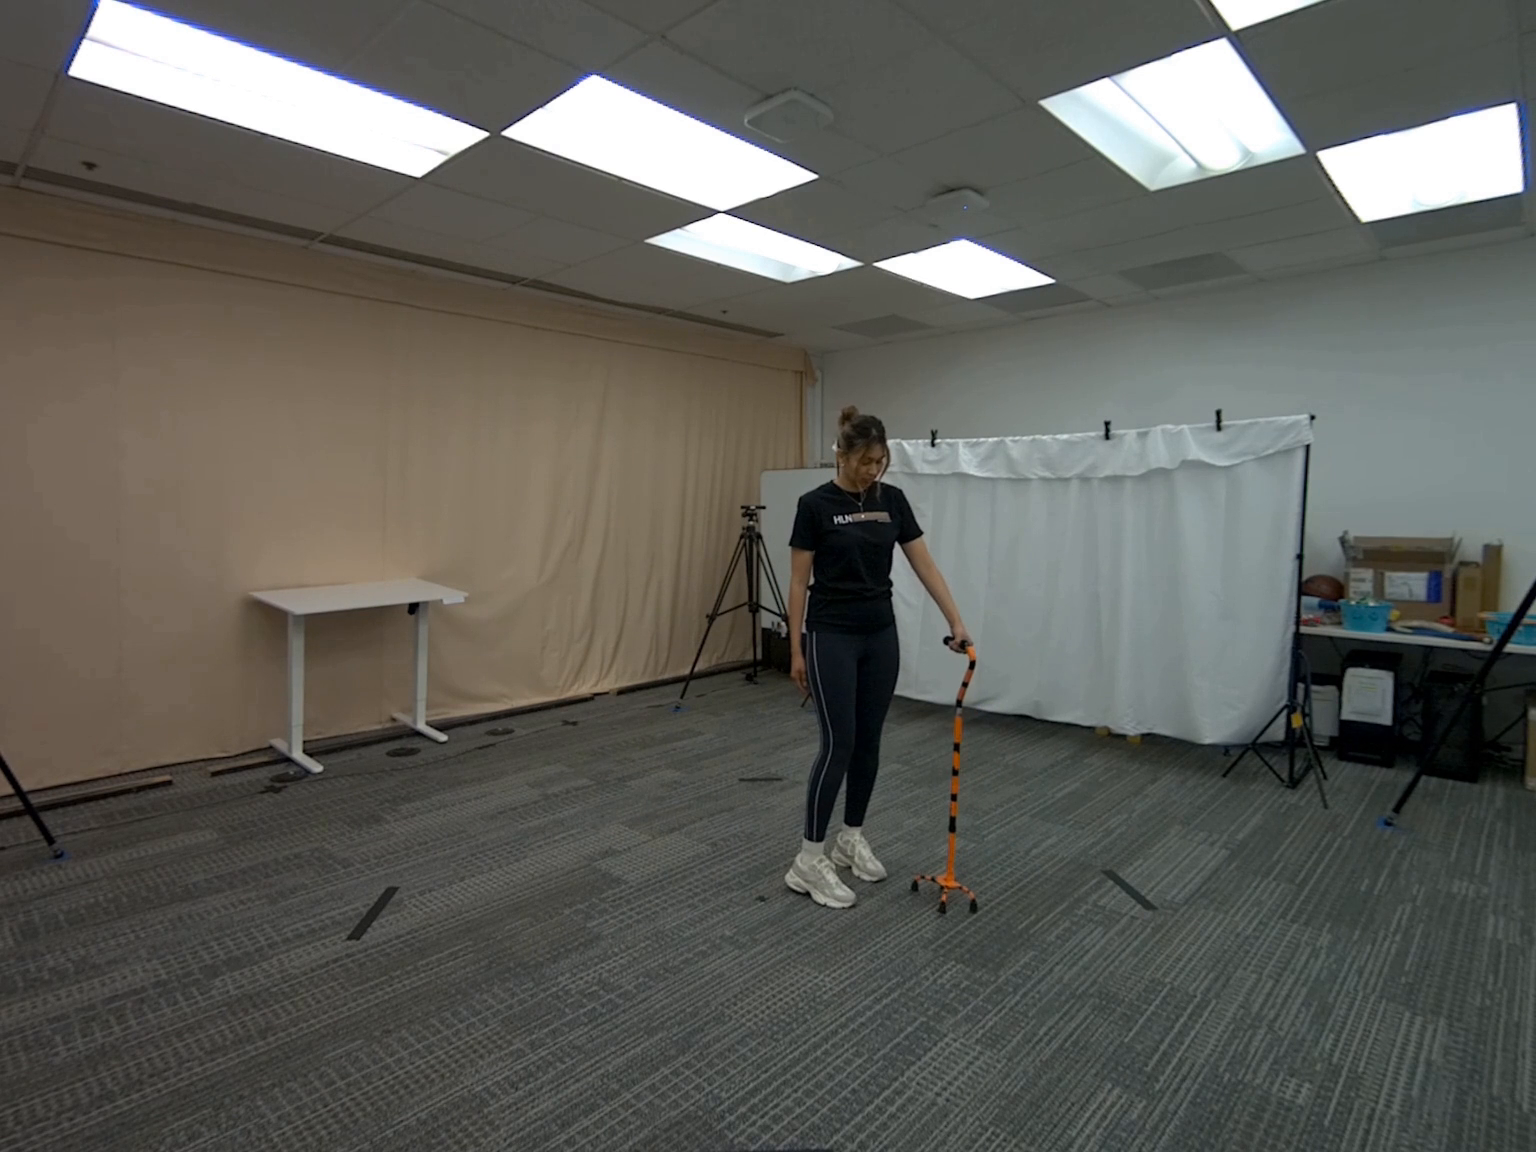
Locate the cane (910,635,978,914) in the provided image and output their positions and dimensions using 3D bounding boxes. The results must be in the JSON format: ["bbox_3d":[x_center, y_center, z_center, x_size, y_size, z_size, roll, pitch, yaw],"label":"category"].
[{"bbox_3d":[0.652,0.679,2.940,0.148,0.907,0.211,3,1,-20],"label":"cane"}]
